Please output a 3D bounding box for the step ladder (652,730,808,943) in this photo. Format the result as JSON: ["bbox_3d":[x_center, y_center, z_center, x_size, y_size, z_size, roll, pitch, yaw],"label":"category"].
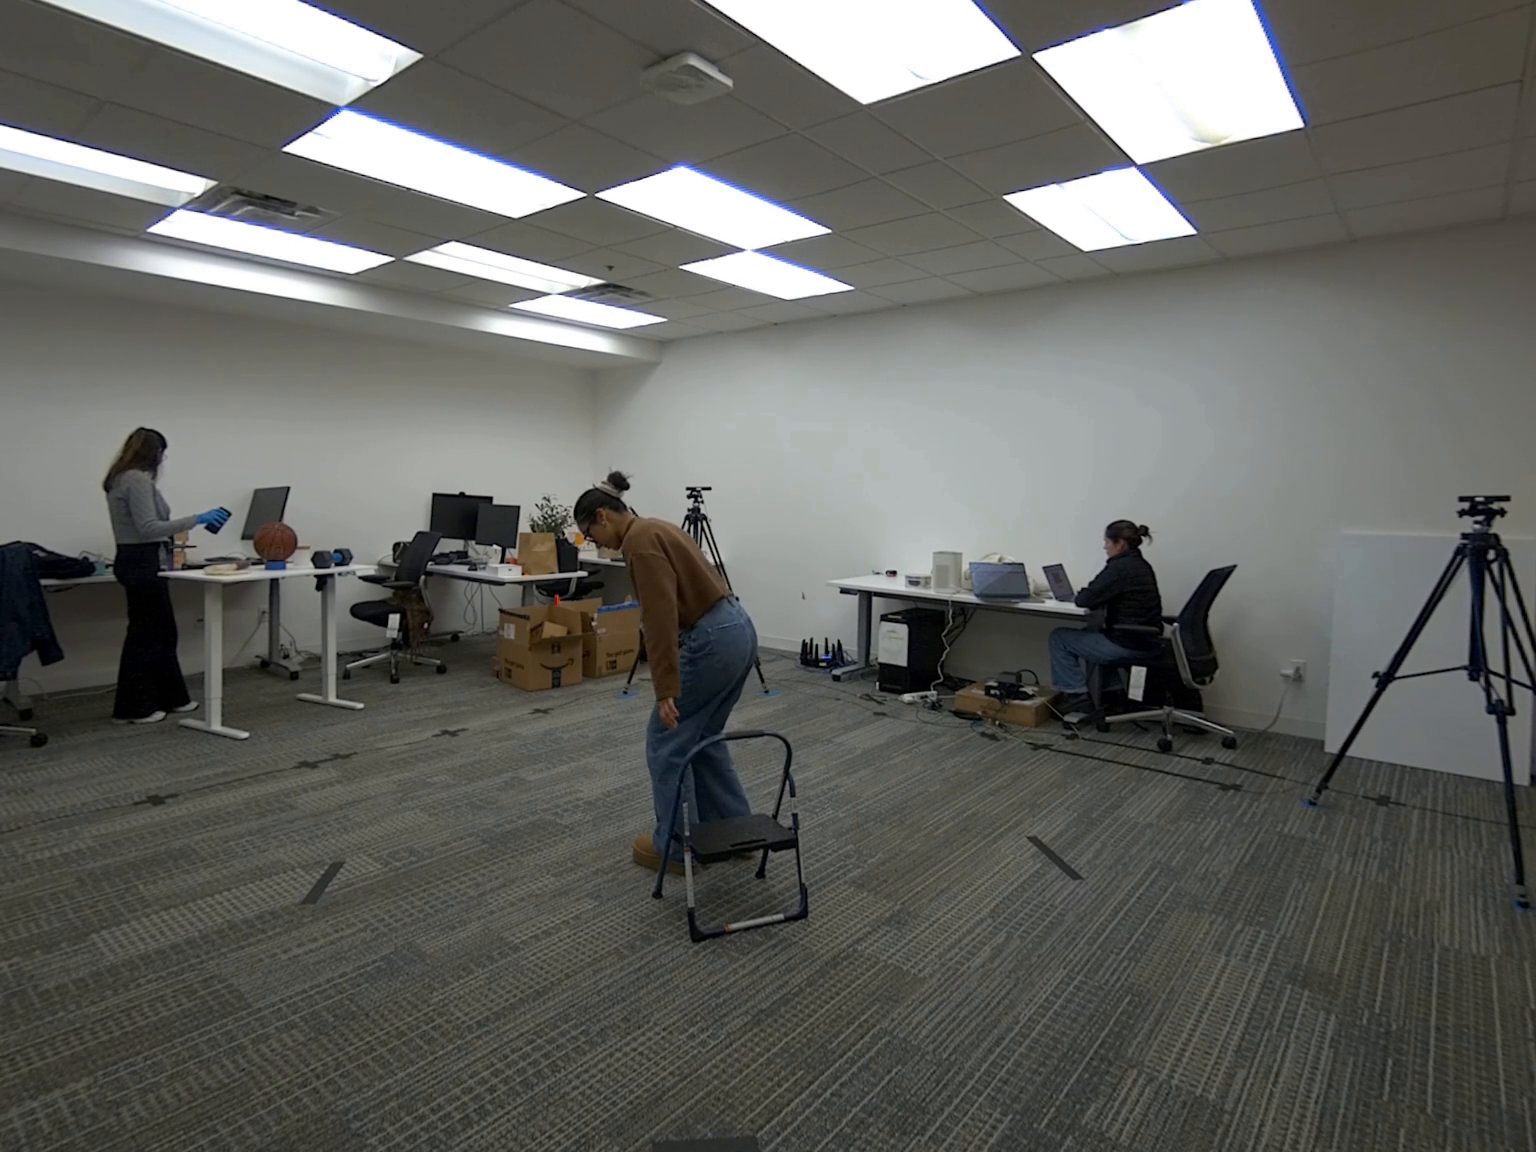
[{"bbox_3d":[-0.133,0.794,2.821,0.420,0.605,0.359,0,3,-27],"label":"step ladder"}]
